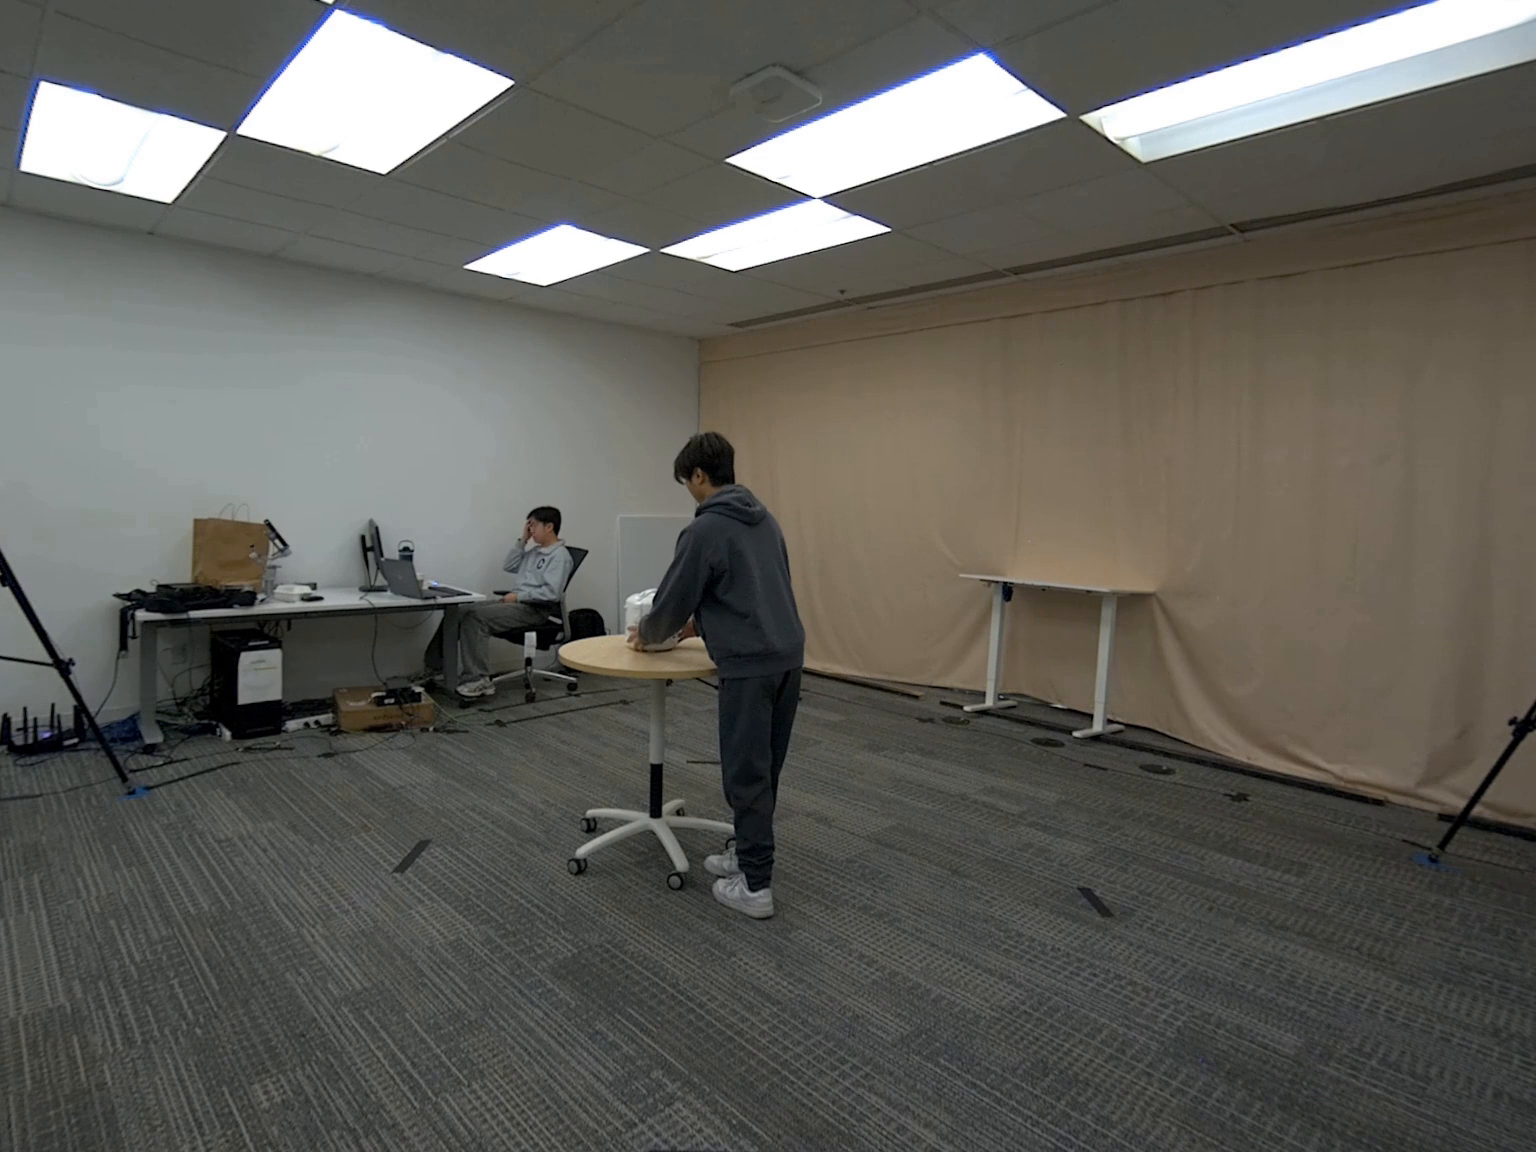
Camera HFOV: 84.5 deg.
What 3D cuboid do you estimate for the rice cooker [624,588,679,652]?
[{"bbox_3d":[-0.454,0.168,3.299,0.222,0.232,0.217,3,4,27],"label":"rice cooker"}]
